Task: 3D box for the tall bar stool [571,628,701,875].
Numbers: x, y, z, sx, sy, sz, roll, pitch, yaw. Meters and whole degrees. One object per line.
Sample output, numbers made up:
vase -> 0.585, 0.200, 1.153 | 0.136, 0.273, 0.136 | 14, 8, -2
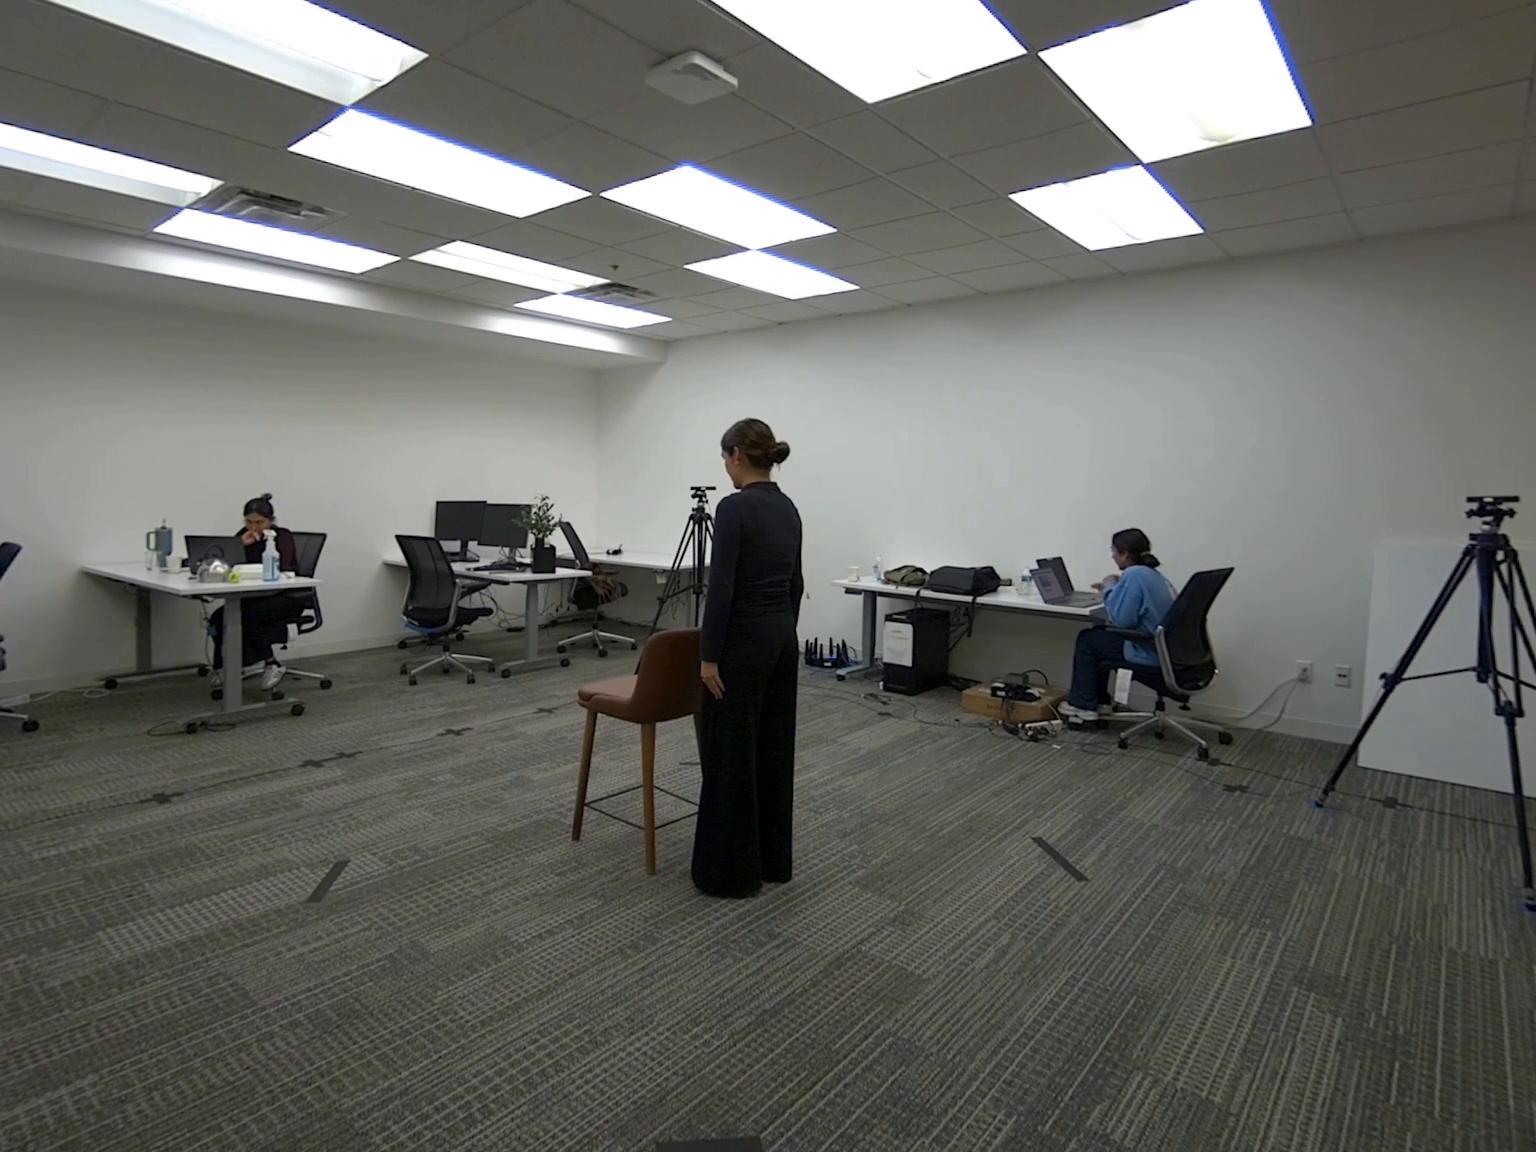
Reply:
tall bar stool -> -0.469, 0.604, 3.305 | 0.484, 0.886, 0.442 | 7, 6, 42
